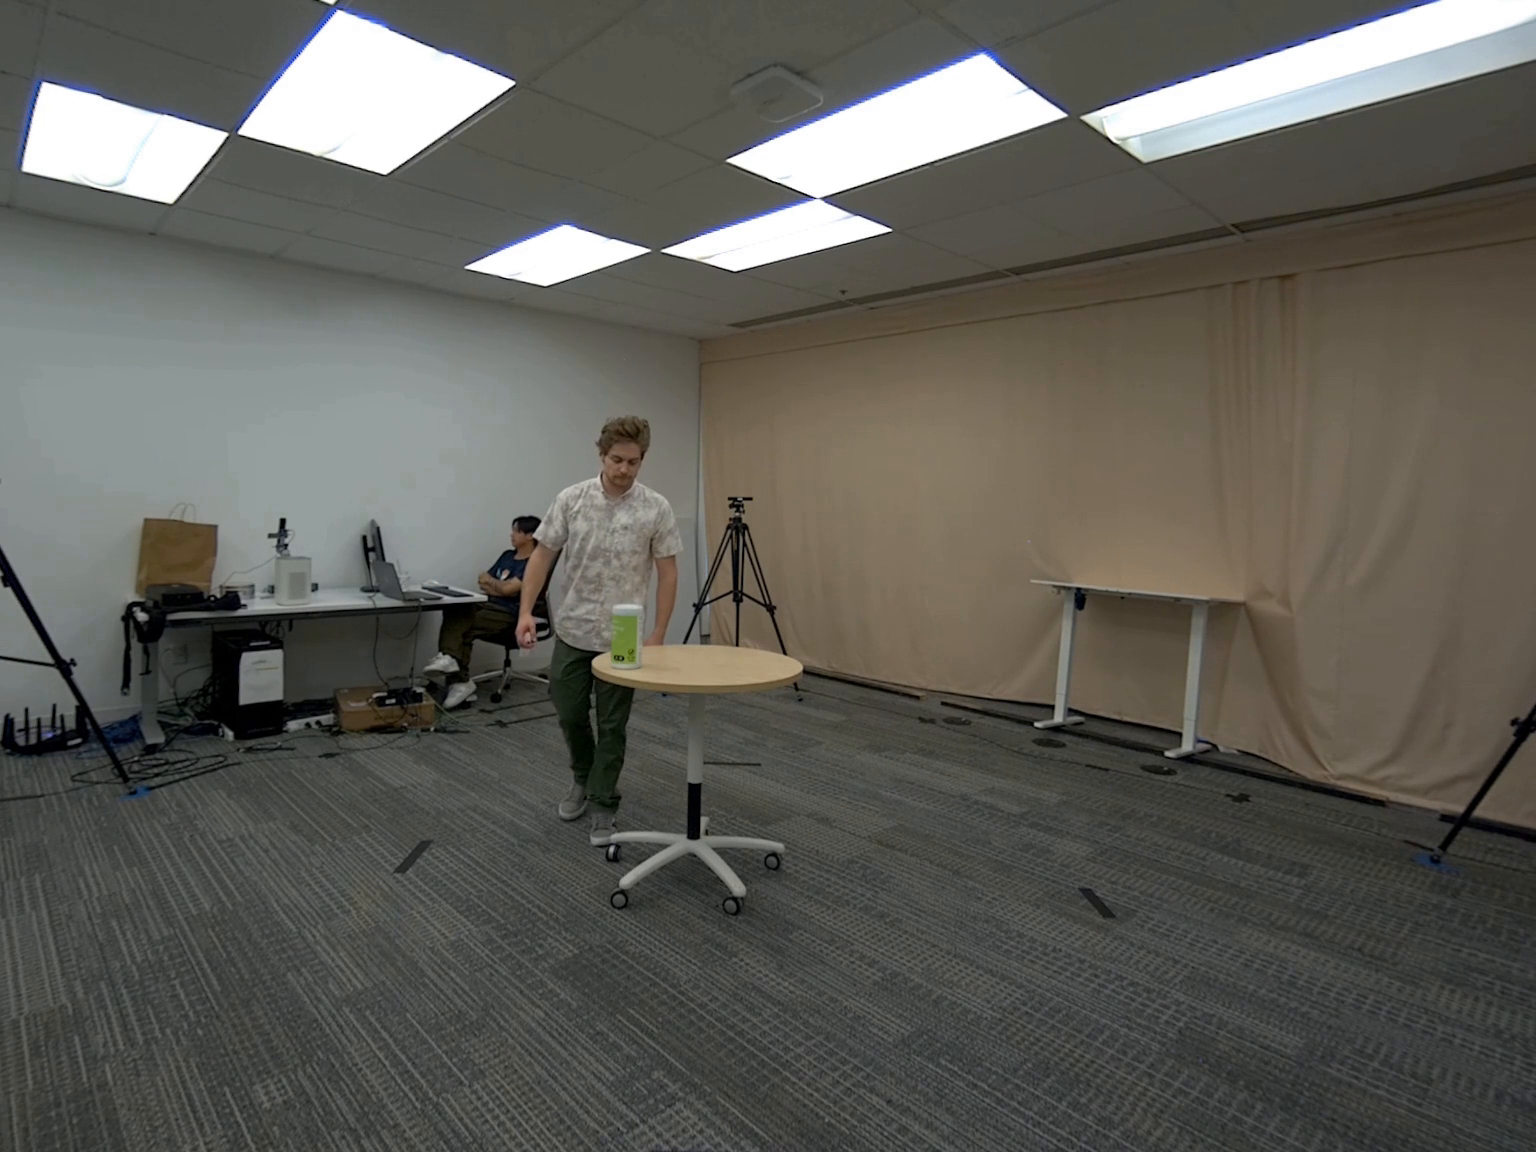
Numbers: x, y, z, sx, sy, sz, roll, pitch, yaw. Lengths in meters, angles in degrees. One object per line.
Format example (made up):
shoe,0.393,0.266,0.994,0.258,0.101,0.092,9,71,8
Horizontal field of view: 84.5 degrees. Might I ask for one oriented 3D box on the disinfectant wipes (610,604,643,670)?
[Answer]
disinfectant wipes,-0.500,0.212,2.944,0.118,0.216,0.118,2,5,-2
